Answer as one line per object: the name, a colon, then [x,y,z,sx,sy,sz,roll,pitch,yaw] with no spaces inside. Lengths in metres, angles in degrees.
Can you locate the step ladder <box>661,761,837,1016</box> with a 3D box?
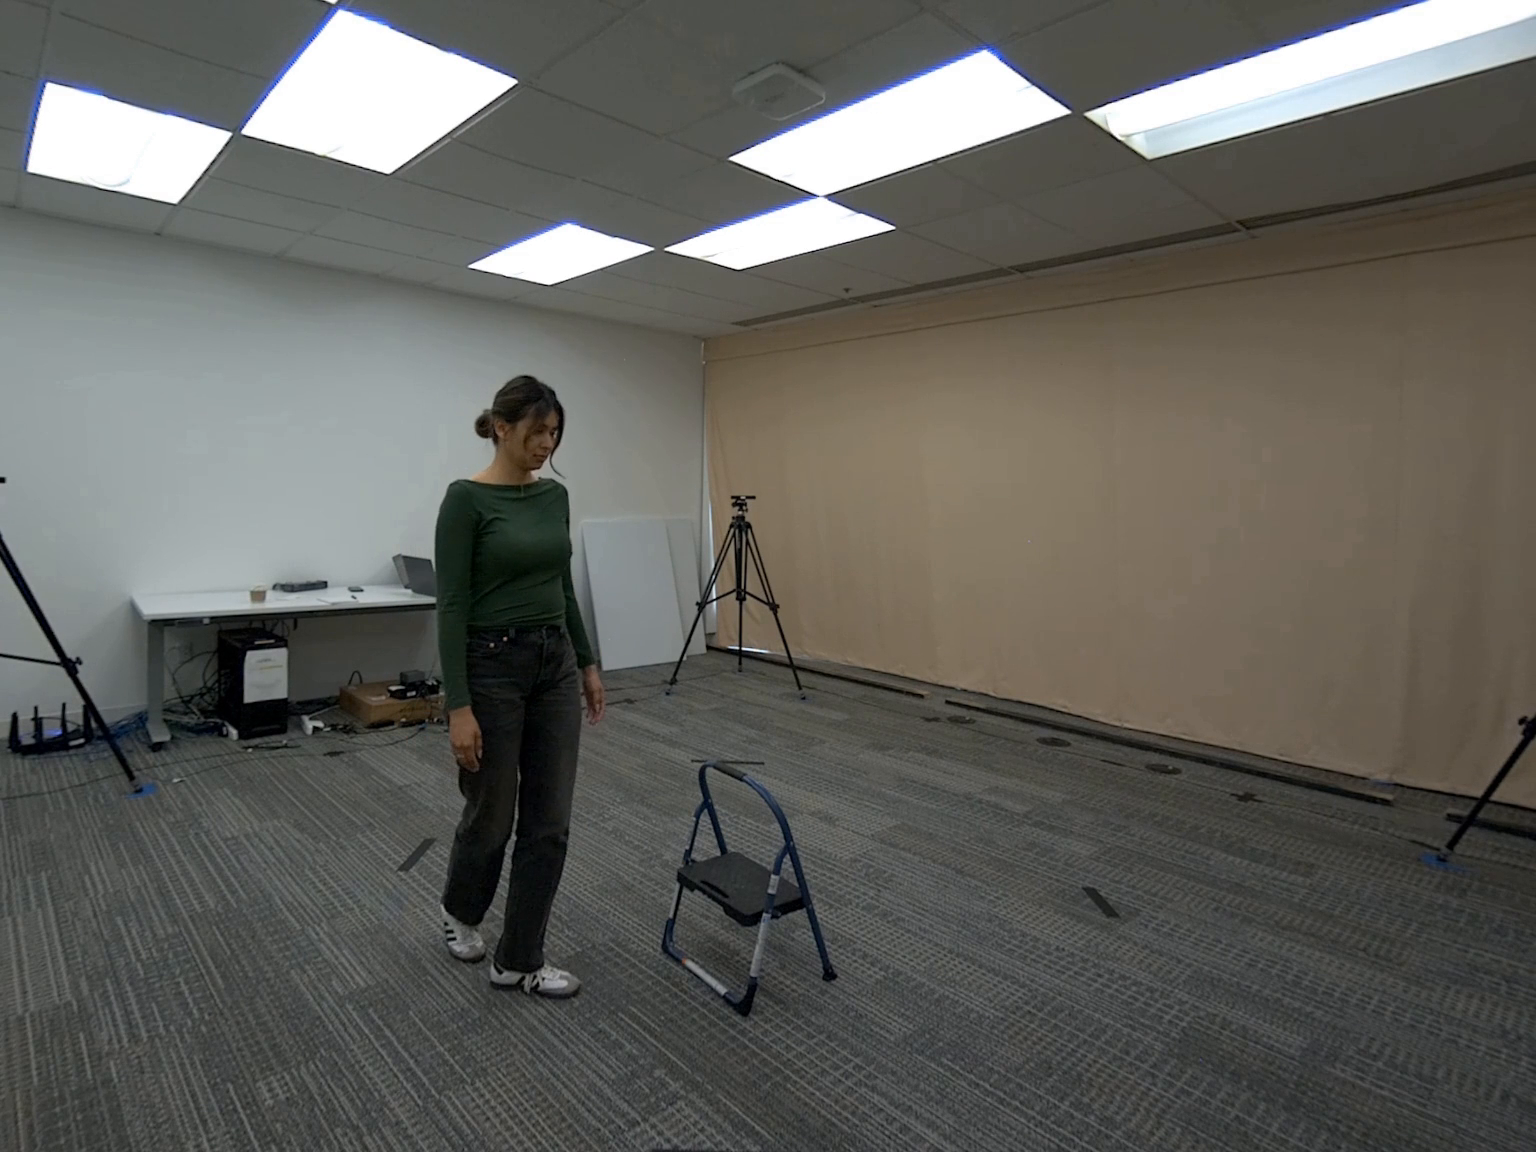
step ladder: [-0.062,0.857,2.495,0.341,0.604,0.441,-2,5,-40]
